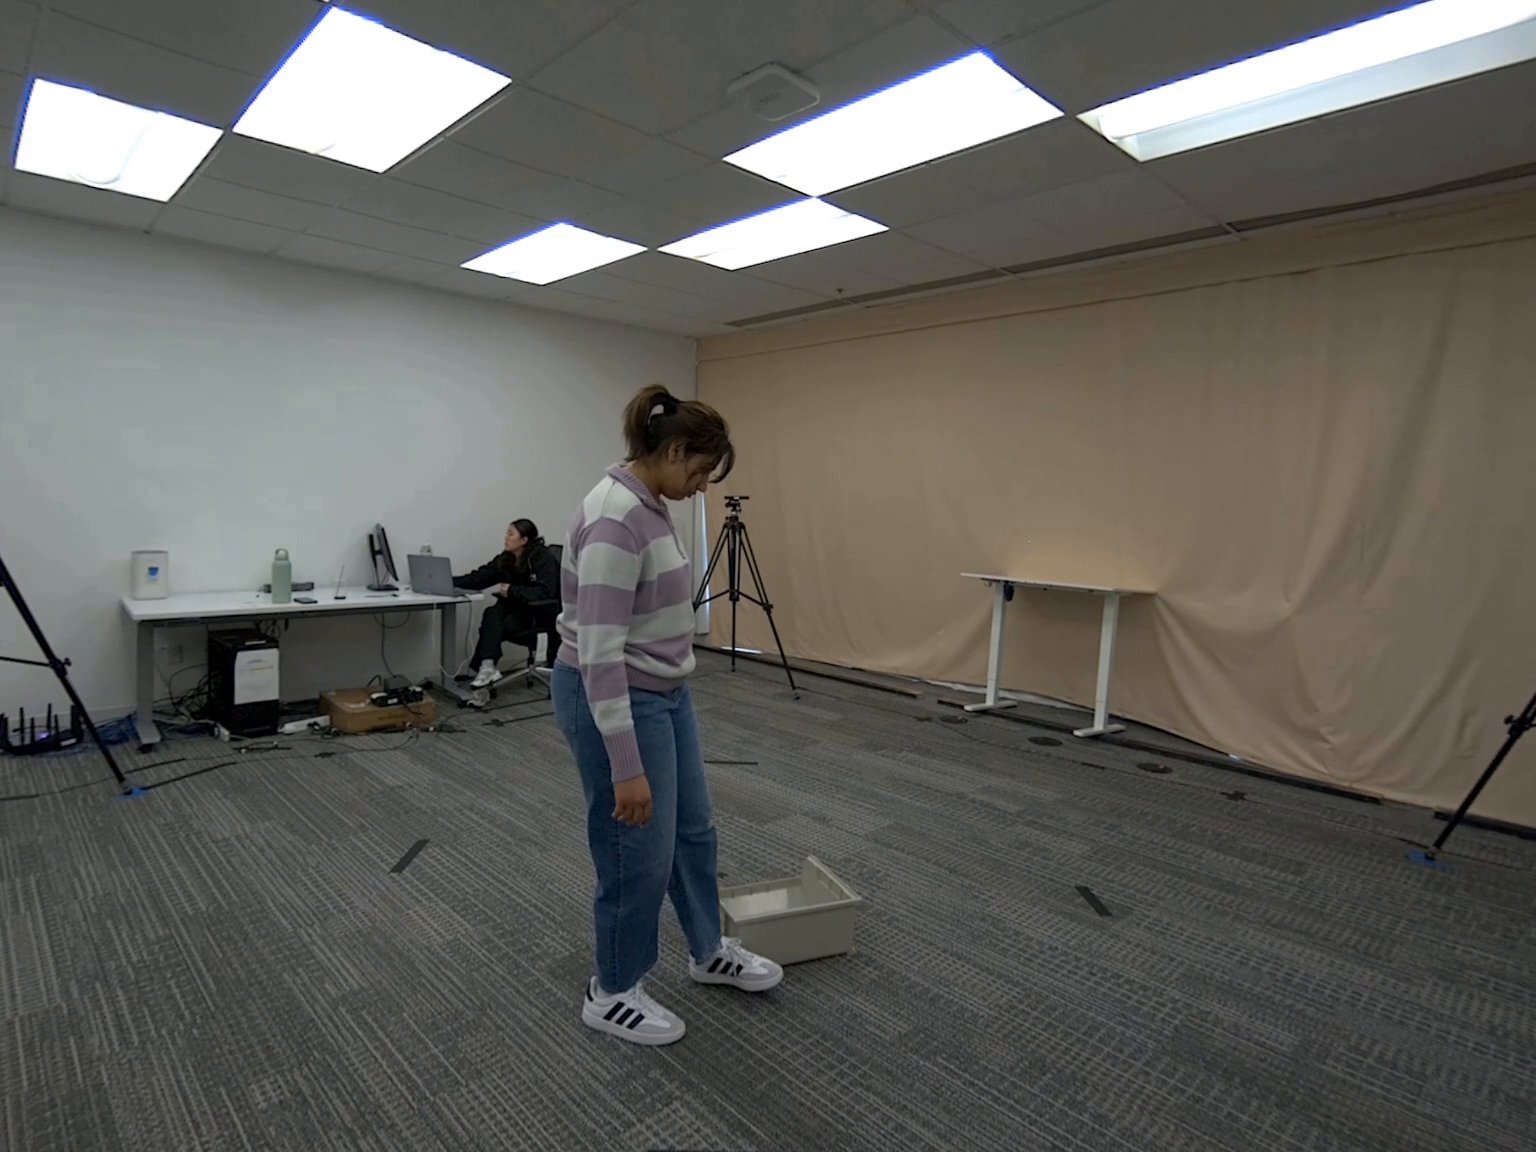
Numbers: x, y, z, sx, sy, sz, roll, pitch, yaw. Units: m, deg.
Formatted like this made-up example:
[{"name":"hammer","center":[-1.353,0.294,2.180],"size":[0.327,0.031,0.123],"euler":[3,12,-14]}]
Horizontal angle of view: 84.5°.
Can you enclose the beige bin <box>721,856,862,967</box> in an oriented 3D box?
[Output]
[{"name":"beige bin","center":[0.013,1.061,2.666],"size":[0.415,0.188,0.385],"euler":[0,6,-24]}]
